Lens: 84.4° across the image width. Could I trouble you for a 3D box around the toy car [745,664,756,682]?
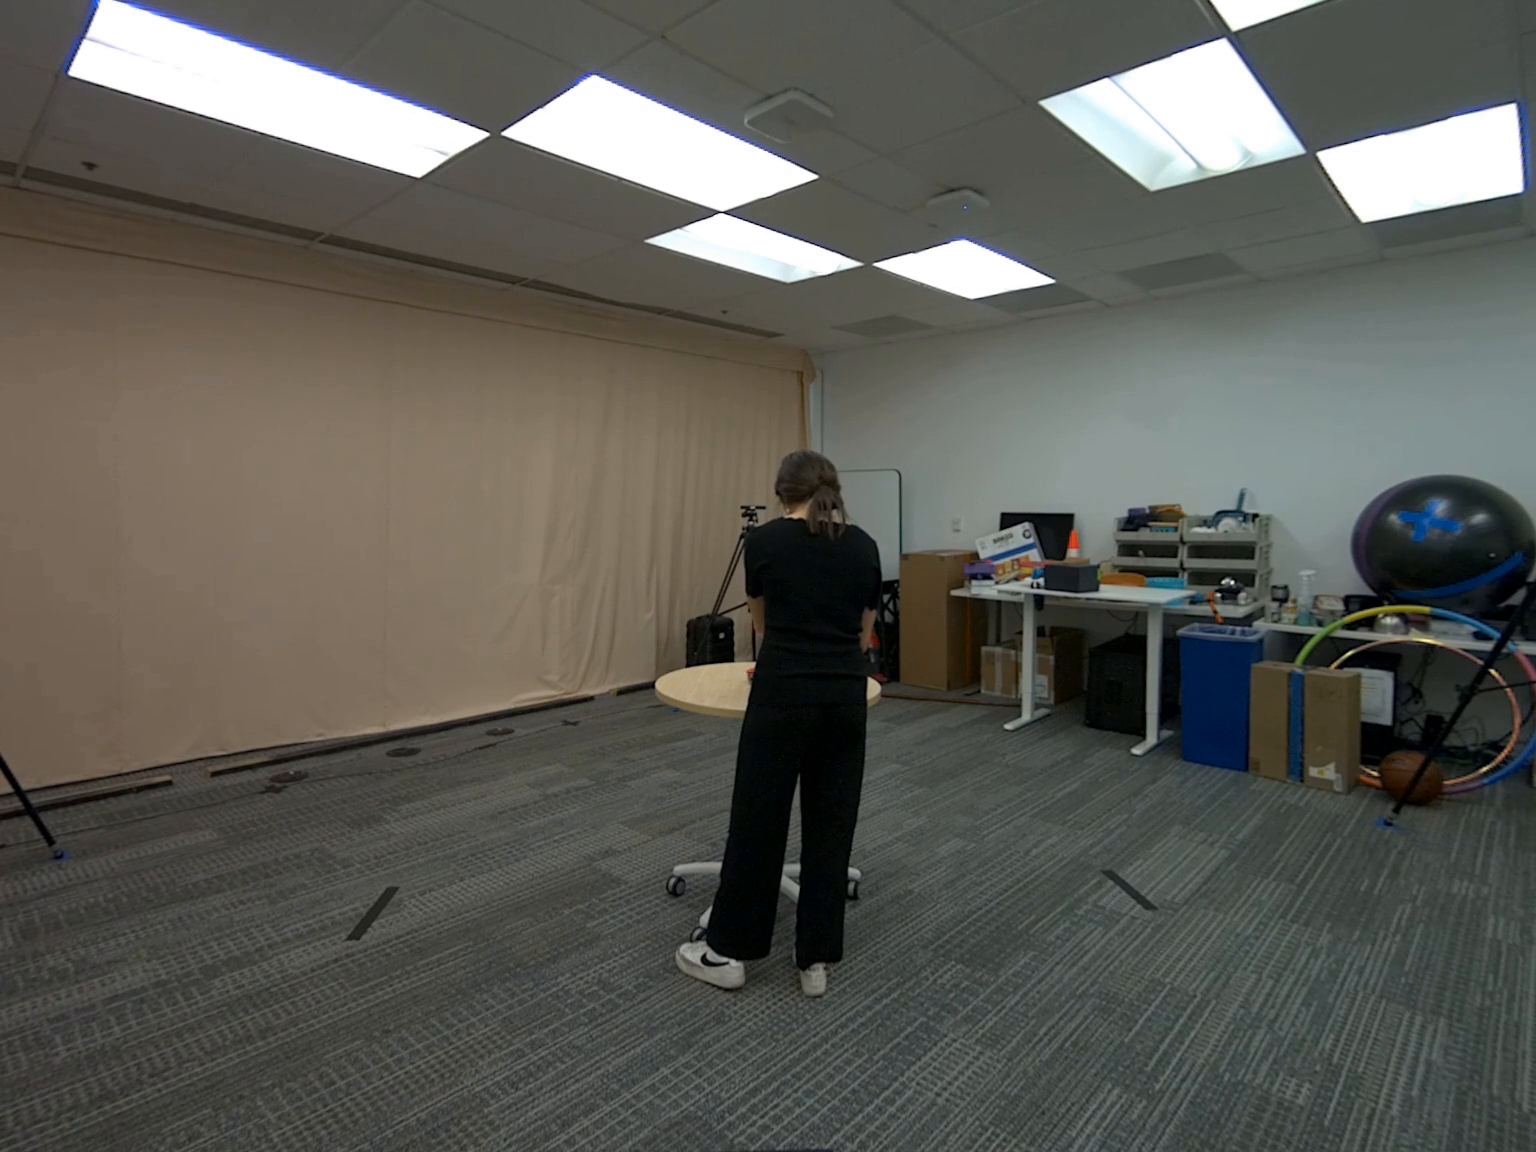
[{"bbox_3d":[0.058,0.342,2.846,0.261,0.083,0.127,-8,0,30],"label":"toy car"}]
